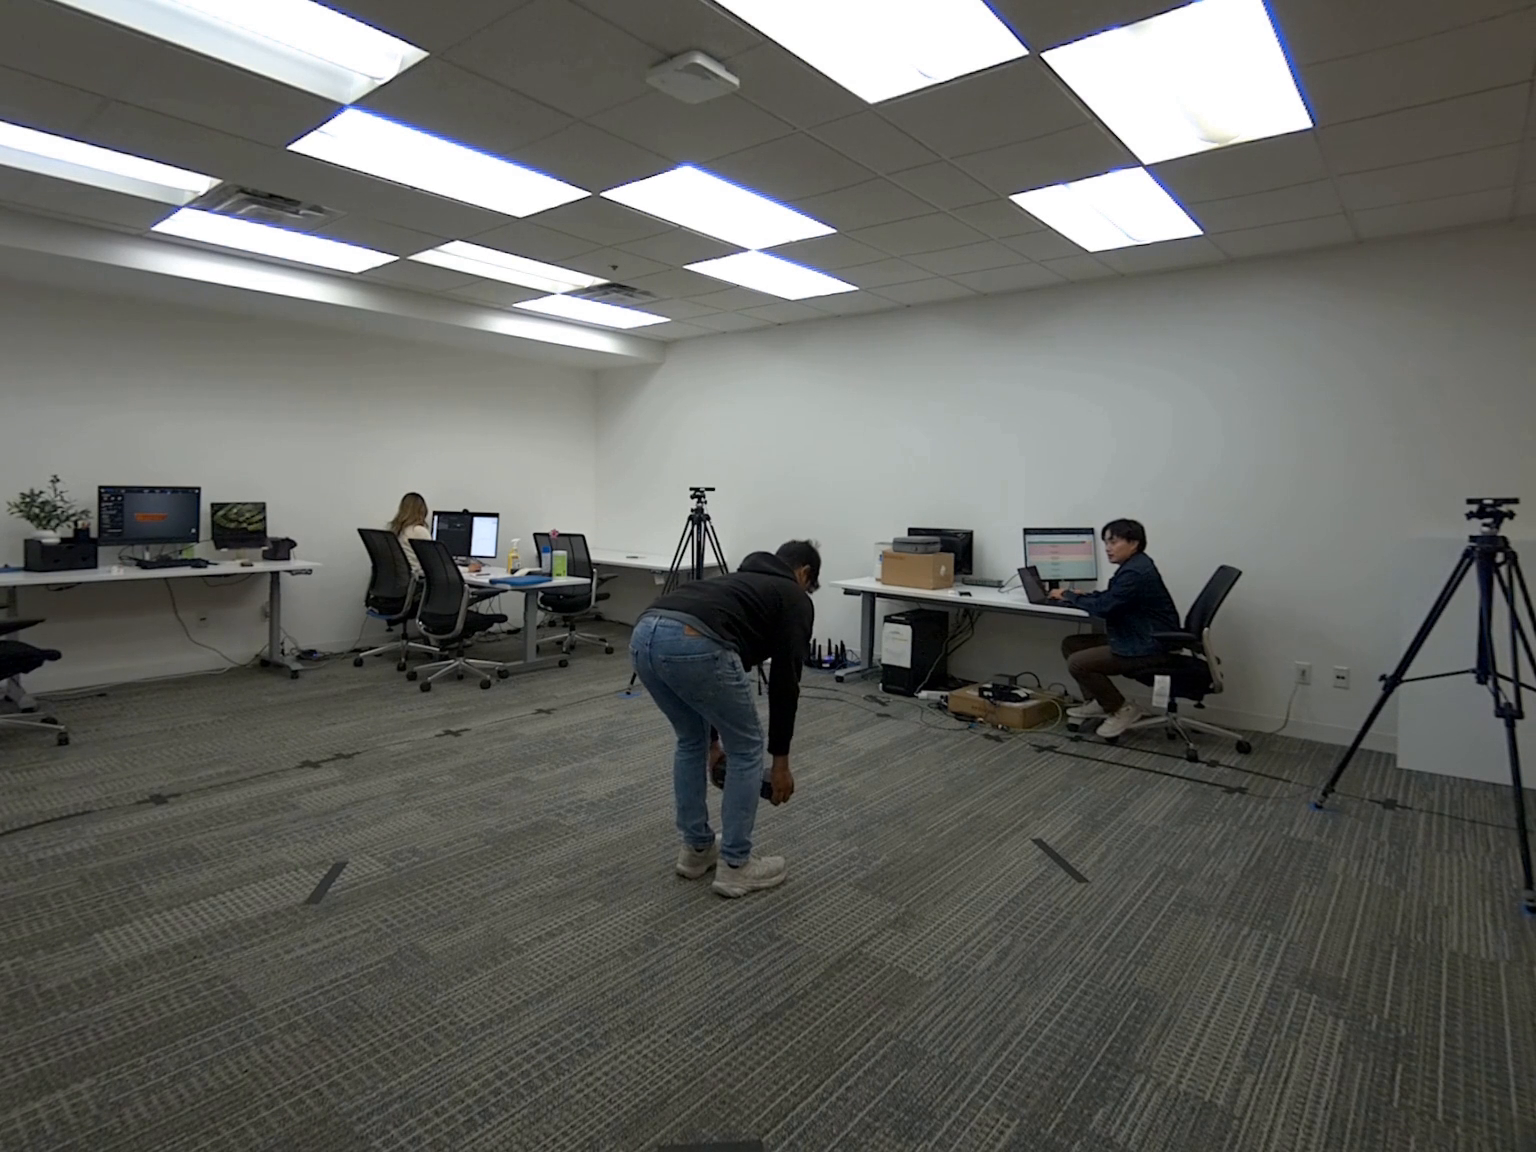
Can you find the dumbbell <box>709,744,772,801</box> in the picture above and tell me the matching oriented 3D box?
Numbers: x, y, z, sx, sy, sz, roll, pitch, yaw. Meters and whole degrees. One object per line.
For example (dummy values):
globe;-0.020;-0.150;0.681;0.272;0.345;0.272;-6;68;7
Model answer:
dumbbell;-0.080;0.751;3.151;0.304;0.106;0.122;8;35;42
